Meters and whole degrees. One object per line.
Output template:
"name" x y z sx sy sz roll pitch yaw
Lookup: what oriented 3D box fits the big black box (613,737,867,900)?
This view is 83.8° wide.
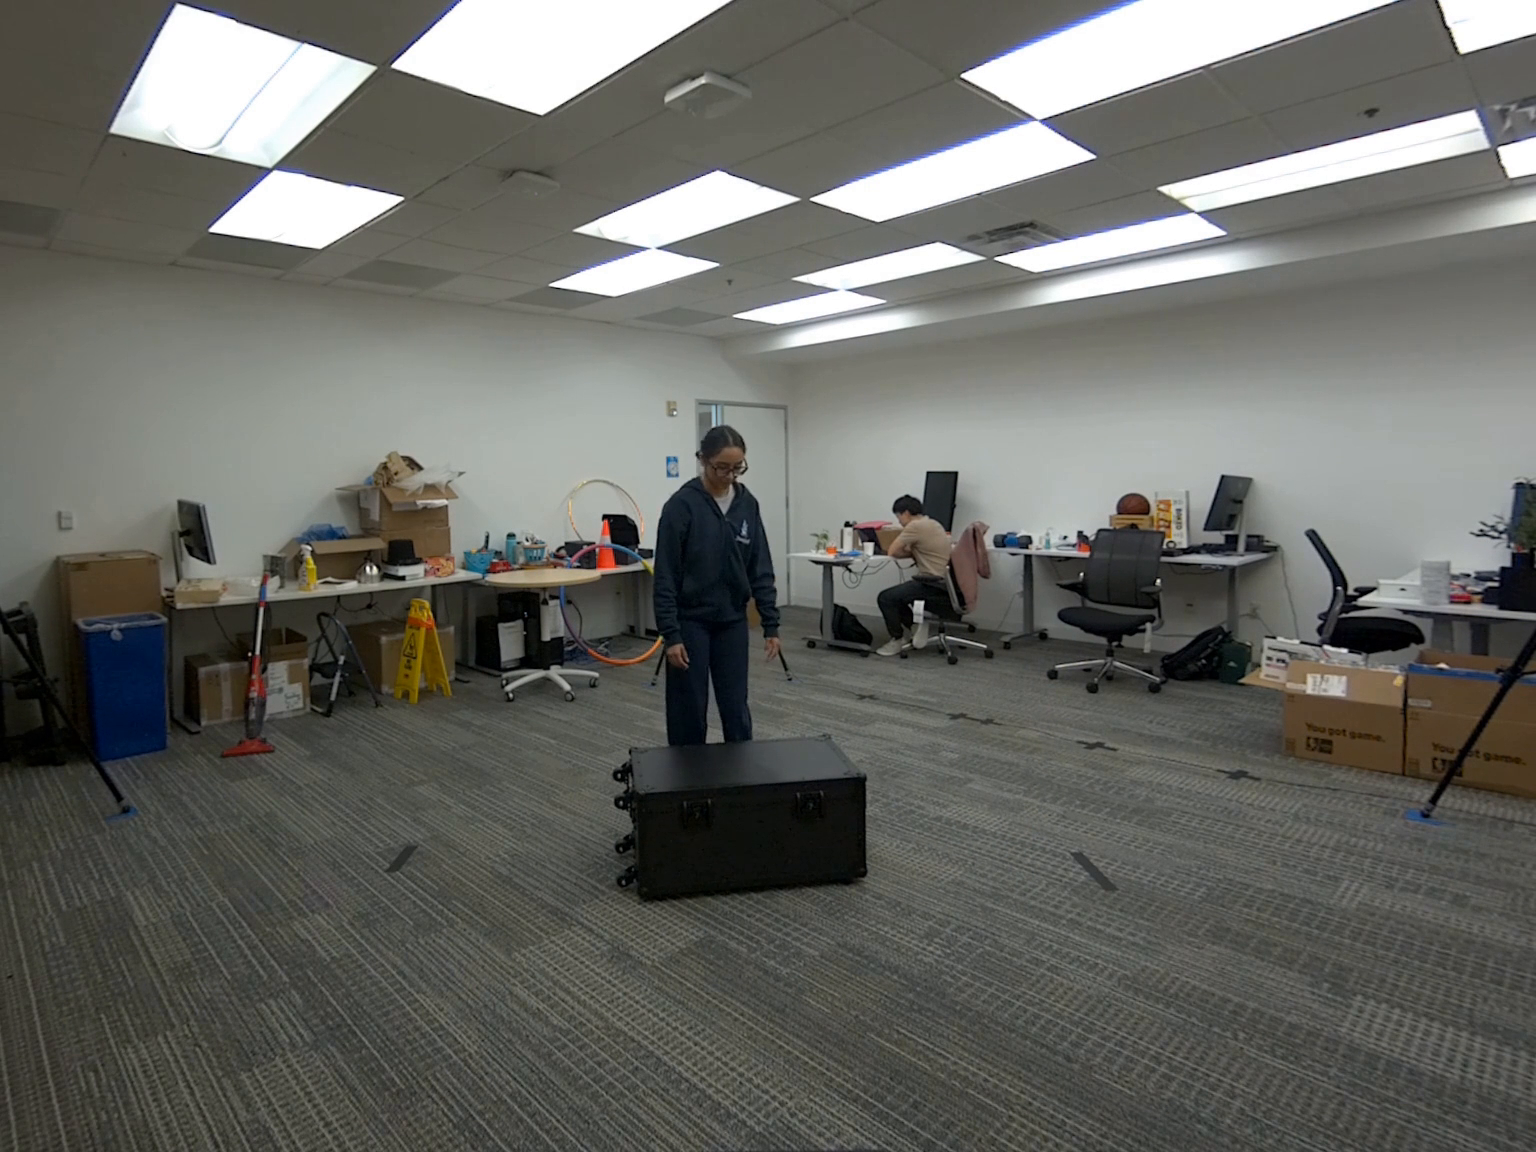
"big black box" -0.126 0.856 3.096 0.854 0.394 0.528 -2 6 -10
